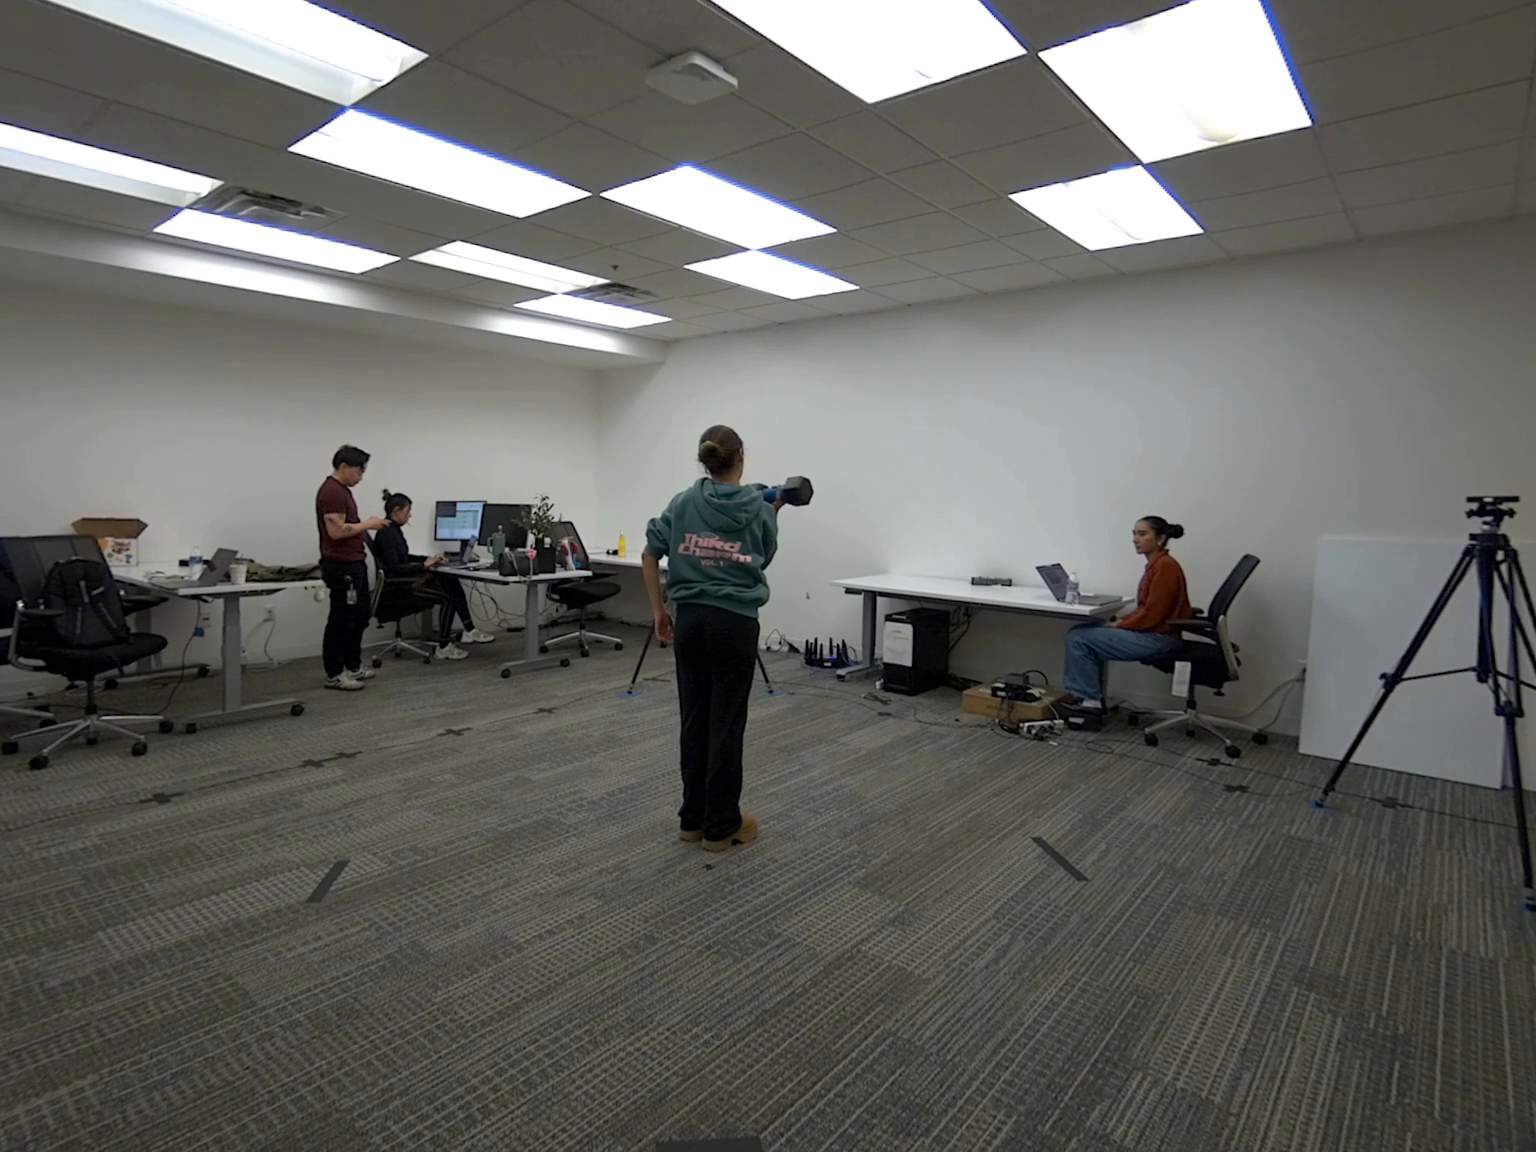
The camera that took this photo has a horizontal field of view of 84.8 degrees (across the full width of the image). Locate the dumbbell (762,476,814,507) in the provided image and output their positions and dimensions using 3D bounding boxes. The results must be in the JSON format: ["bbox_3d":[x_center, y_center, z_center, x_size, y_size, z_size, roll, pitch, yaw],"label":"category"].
[{"bbox_3d":[0.026,-0.330,3.420,0.302,0.124,0.104,-5,-40,39],"label":"dumbbell"}]
